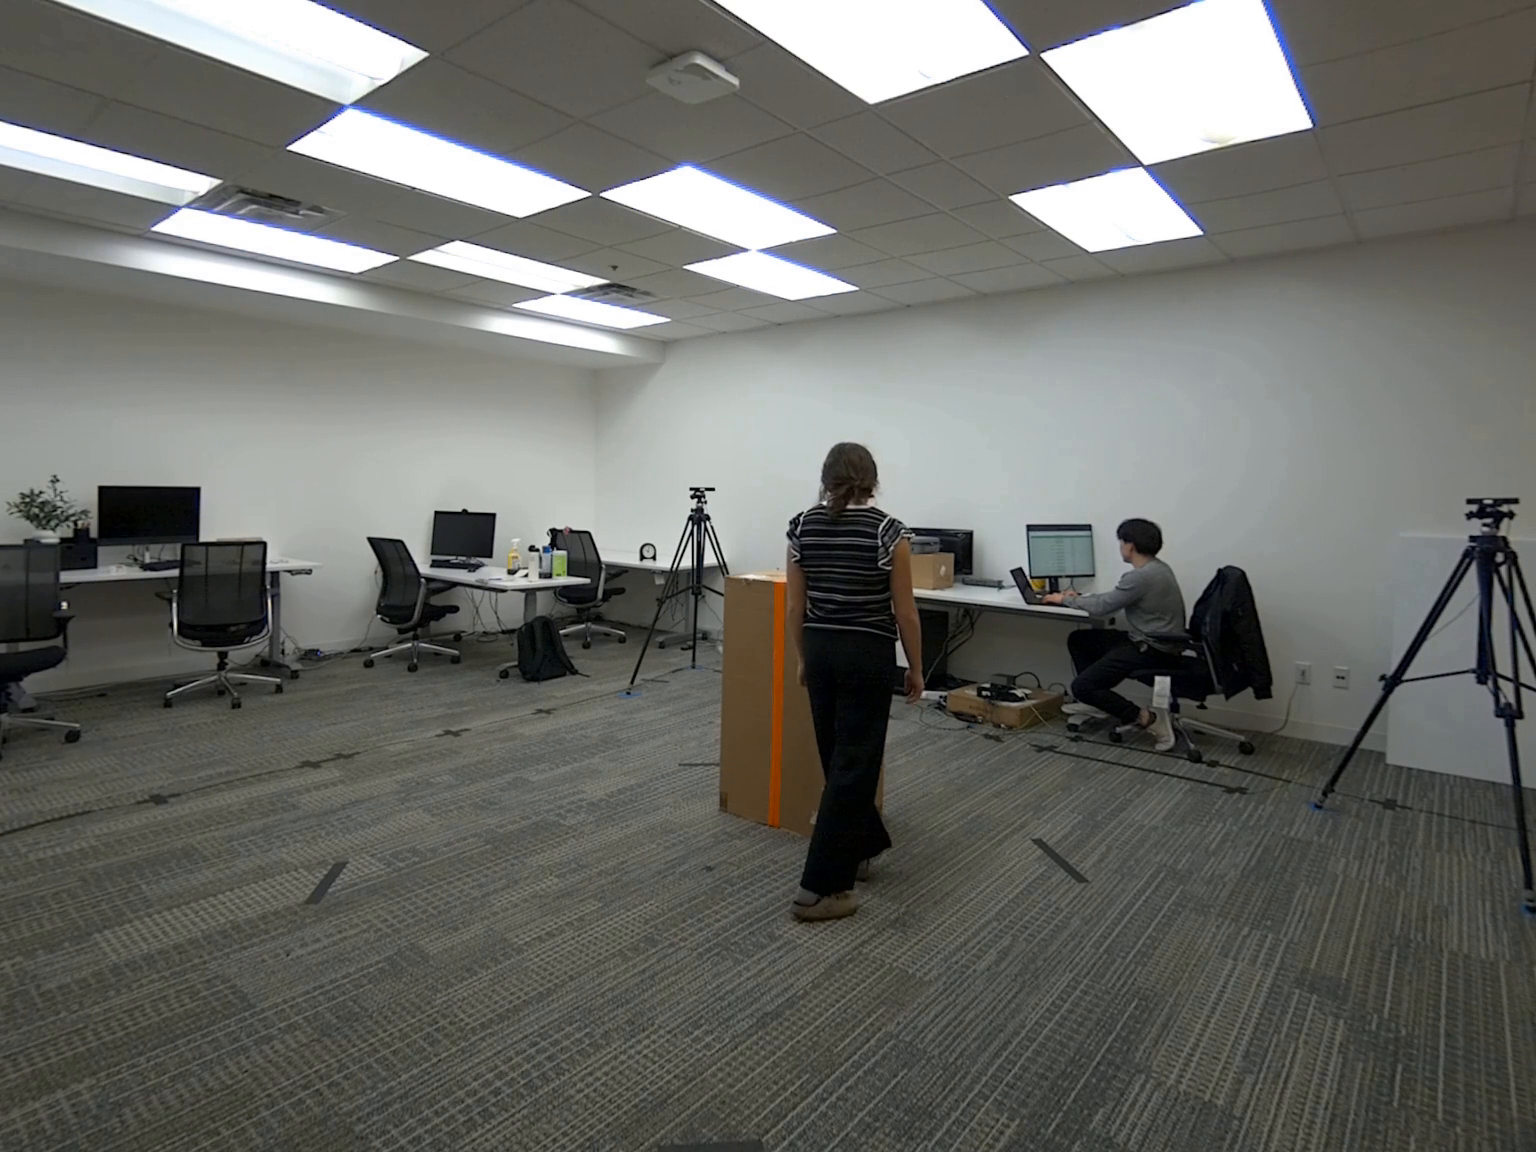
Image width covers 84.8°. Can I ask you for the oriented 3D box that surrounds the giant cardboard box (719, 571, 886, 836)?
[{"bbox_3d":[0.139,0.515,3.650,0.596,1.023,0.414,4,4,35],"label":"giant cardboard box"}]
